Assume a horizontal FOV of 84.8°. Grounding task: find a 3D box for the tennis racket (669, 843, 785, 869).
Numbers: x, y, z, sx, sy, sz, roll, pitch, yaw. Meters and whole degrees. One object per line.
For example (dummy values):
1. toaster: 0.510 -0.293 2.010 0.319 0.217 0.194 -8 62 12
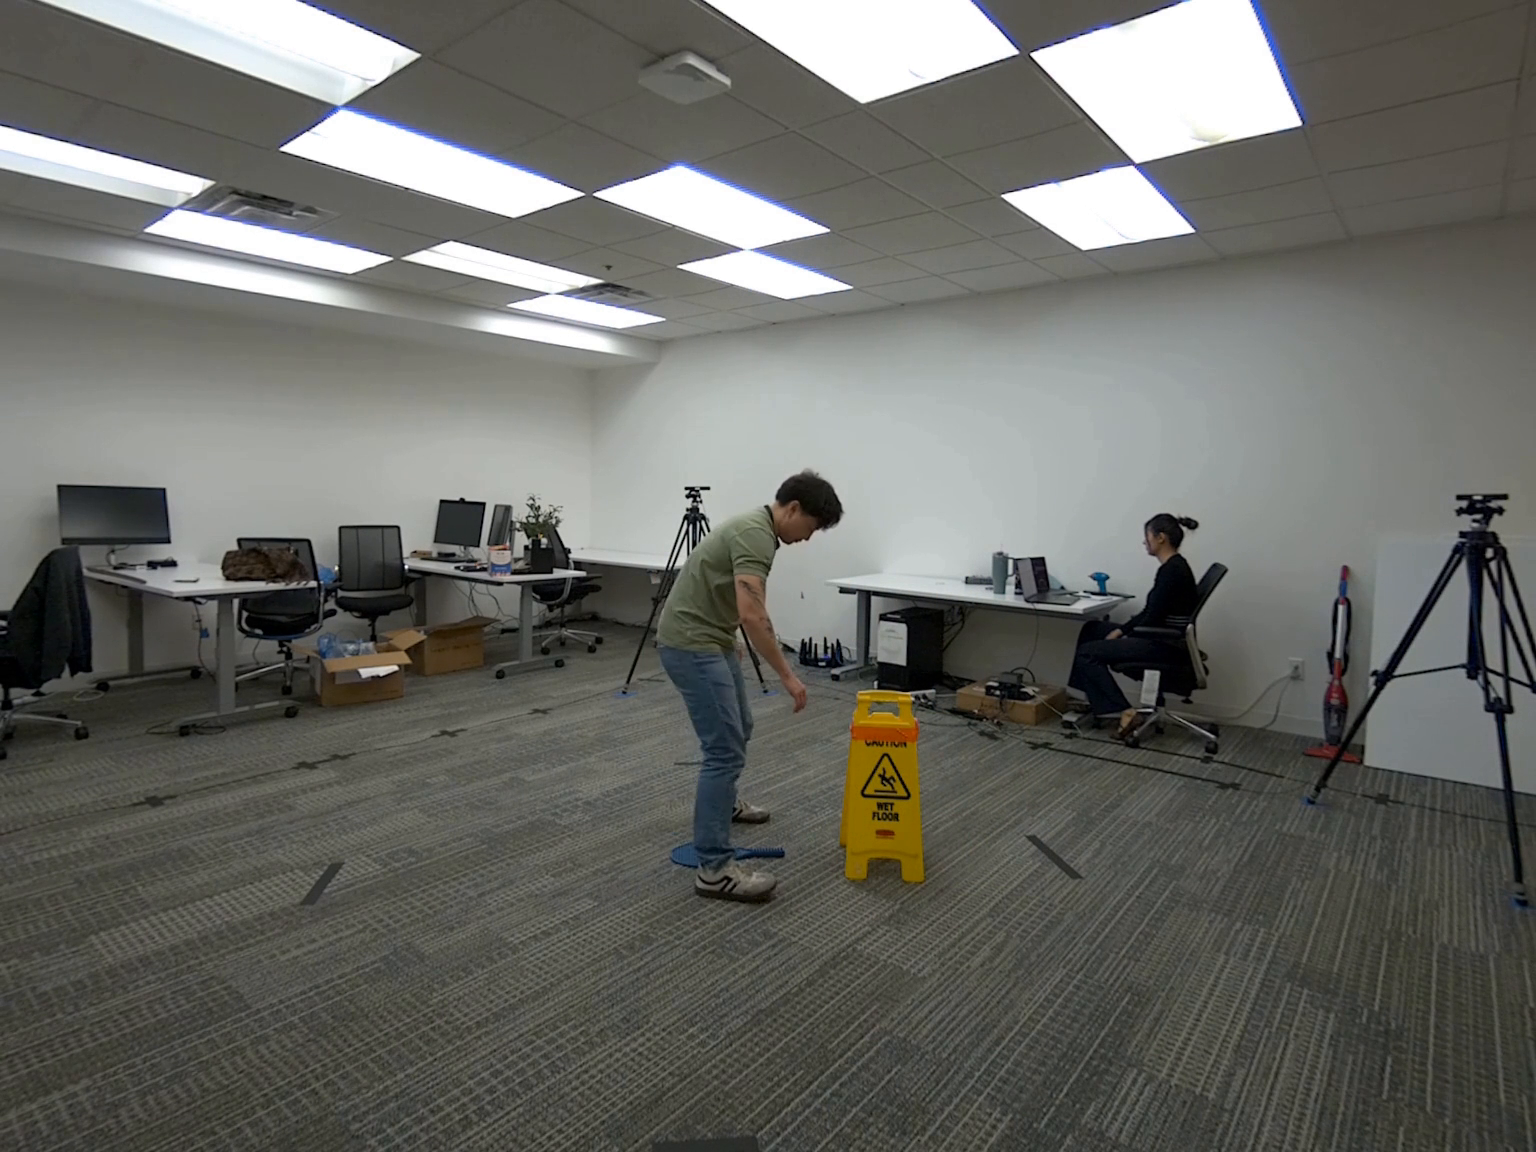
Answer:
1. tennis racket: -0.161 1.037 3.208 0.431 0.031 0.215 -1 6 -4
